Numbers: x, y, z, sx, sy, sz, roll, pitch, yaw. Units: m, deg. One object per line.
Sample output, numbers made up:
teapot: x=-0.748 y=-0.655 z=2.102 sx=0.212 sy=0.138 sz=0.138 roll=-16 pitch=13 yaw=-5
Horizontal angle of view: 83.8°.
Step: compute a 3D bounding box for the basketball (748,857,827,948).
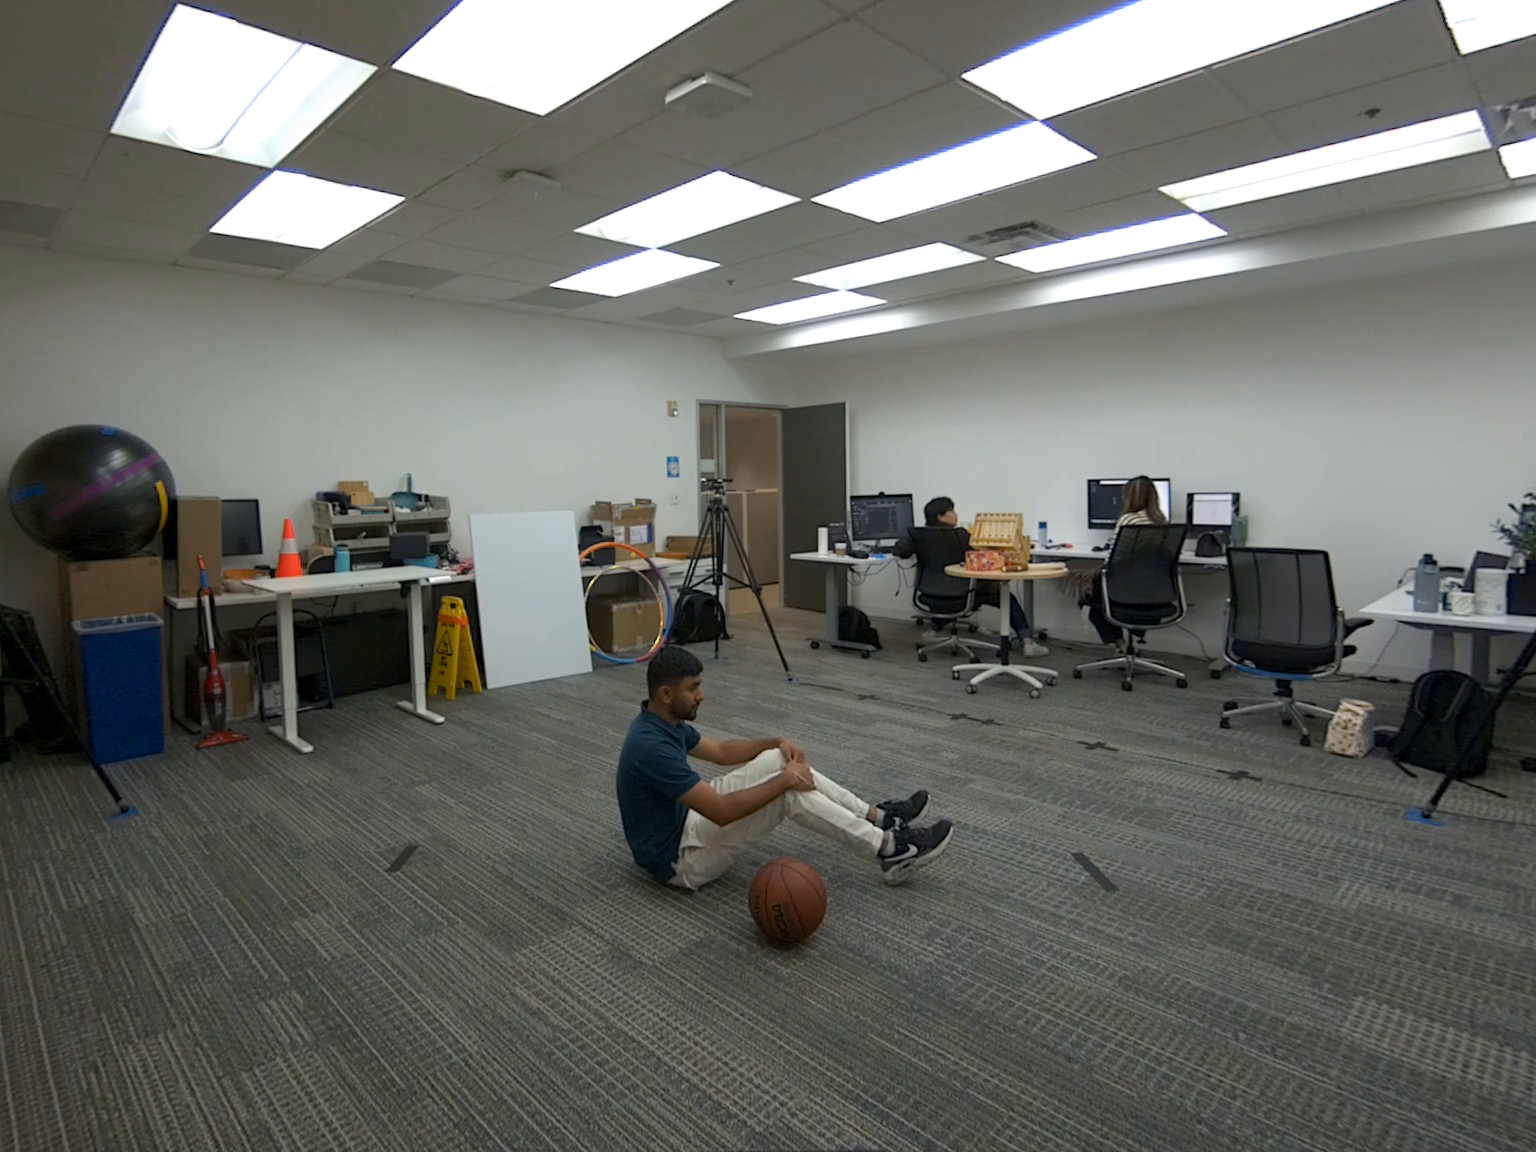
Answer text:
basketball: x=0.060 y=0.981 z=2.601 sx=0.236 sy=0.235 sz=0.237 roll=-1 pitch=5 yaw=-2
